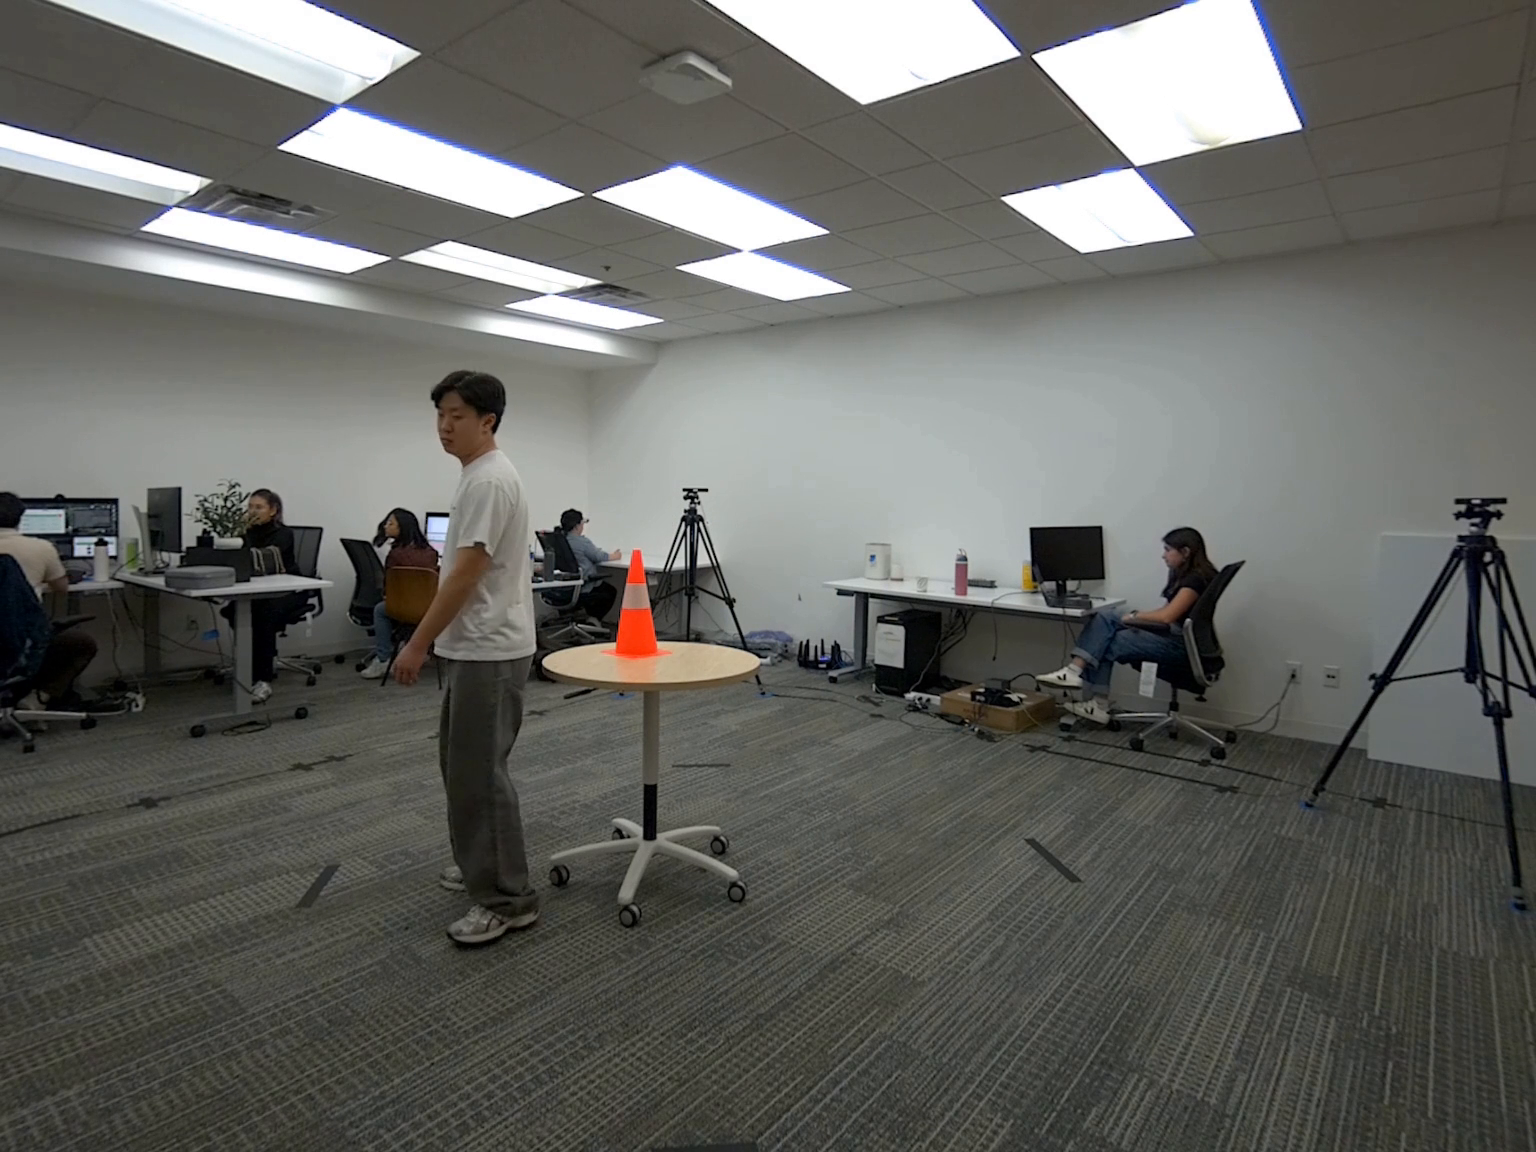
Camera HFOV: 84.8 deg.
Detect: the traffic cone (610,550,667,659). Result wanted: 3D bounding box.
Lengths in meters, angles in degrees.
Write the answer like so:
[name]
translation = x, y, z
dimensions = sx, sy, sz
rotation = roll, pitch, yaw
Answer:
[traffic cone]
translation = -0.490, 0.091, 3.140
dimensions = 0.211, 0.383, 0.197
rotation = 2, 3, 38
